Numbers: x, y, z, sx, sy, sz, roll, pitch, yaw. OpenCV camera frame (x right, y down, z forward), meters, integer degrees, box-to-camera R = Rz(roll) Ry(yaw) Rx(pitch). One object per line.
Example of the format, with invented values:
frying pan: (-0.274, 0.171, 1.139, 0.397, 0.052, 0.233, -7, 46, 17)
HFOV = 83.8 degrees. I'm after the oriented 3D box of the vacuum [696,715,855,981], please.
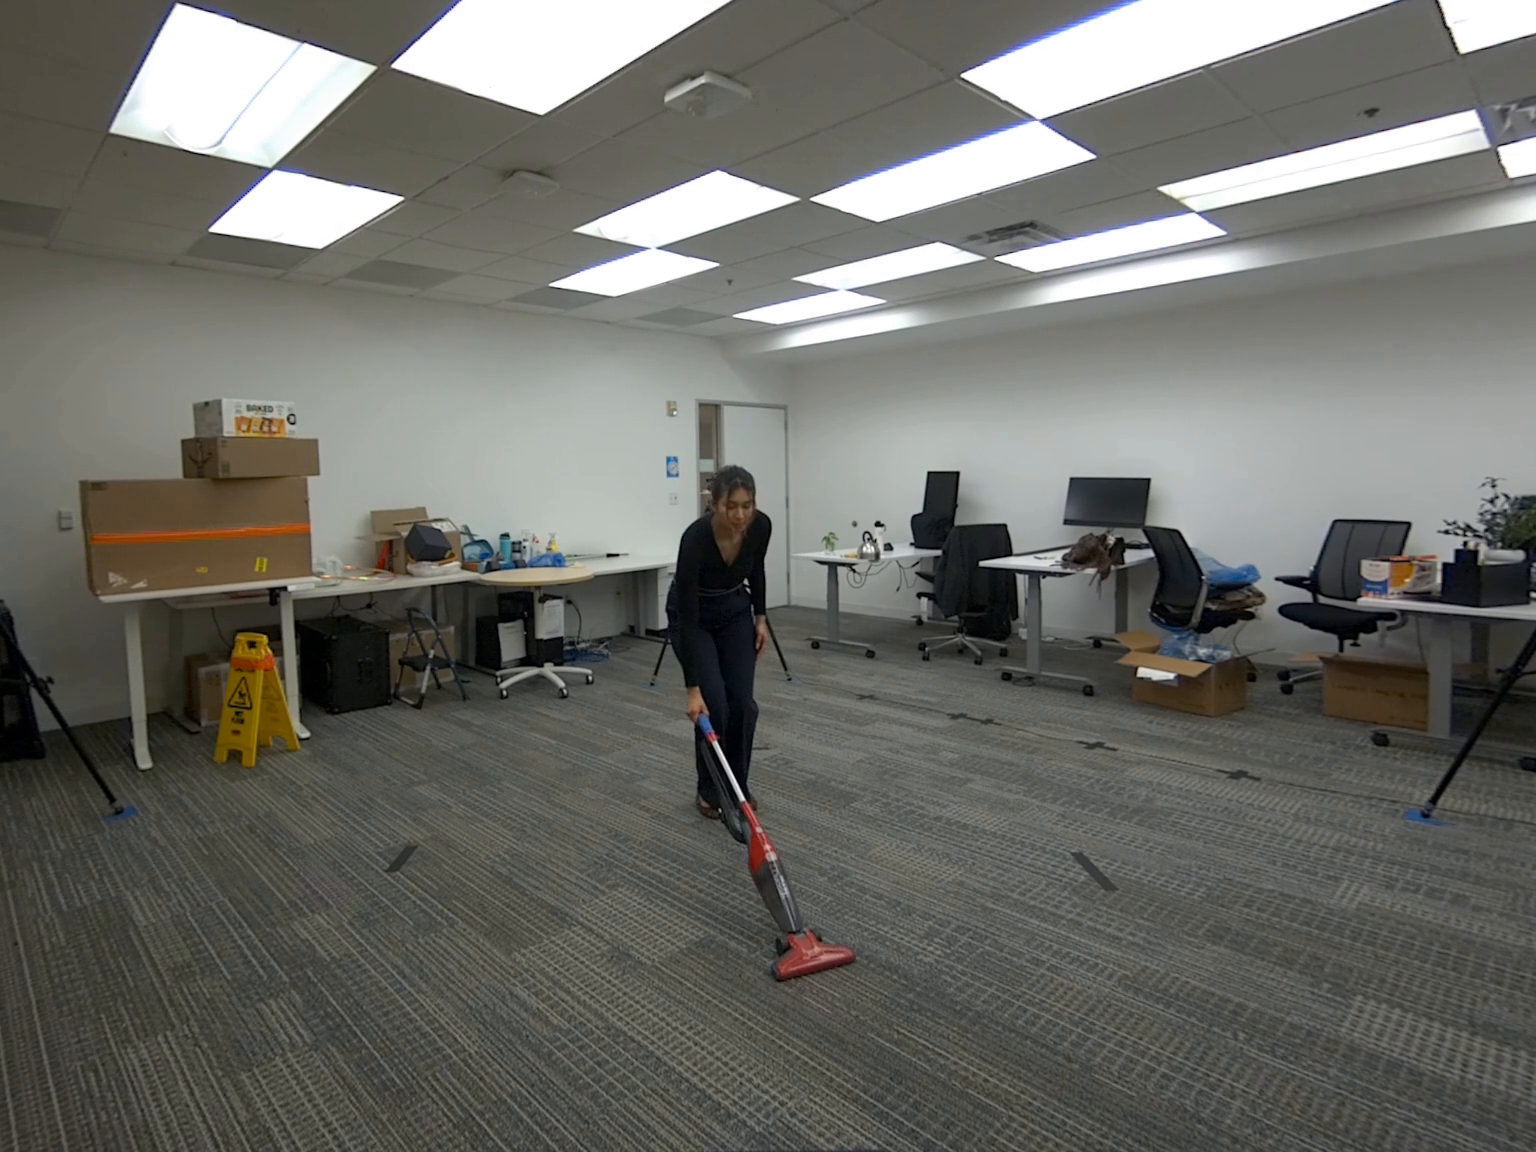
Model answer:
vacuum: (-0.082, 0.809, 2.884, 0.247, 0.141, 1.089, -2, 32, -23)
